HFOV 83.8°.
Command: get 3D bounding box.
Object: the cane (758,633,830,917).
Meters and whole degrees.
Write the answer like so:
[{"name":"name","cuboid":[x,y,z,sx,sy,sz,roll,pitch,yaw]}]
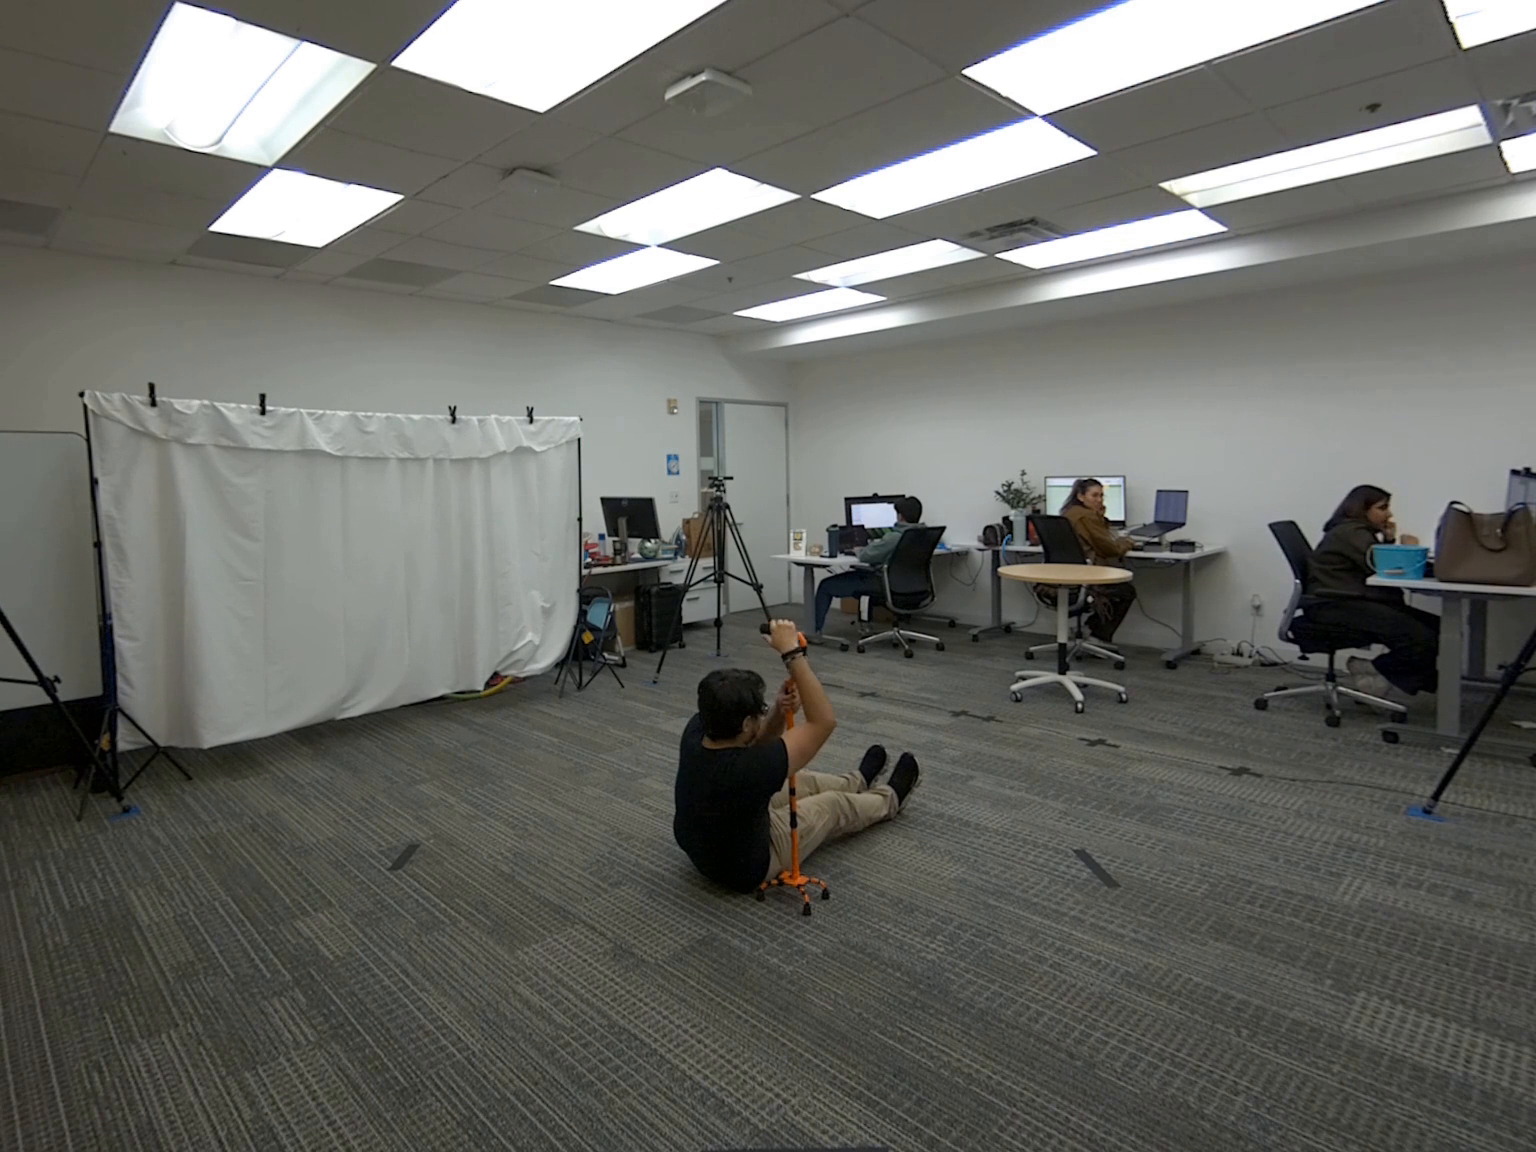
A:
[{"name":"cane","cuboid":[0.069,0.614,2.789,0.212,0.904,0.148,0,5,32]}]
